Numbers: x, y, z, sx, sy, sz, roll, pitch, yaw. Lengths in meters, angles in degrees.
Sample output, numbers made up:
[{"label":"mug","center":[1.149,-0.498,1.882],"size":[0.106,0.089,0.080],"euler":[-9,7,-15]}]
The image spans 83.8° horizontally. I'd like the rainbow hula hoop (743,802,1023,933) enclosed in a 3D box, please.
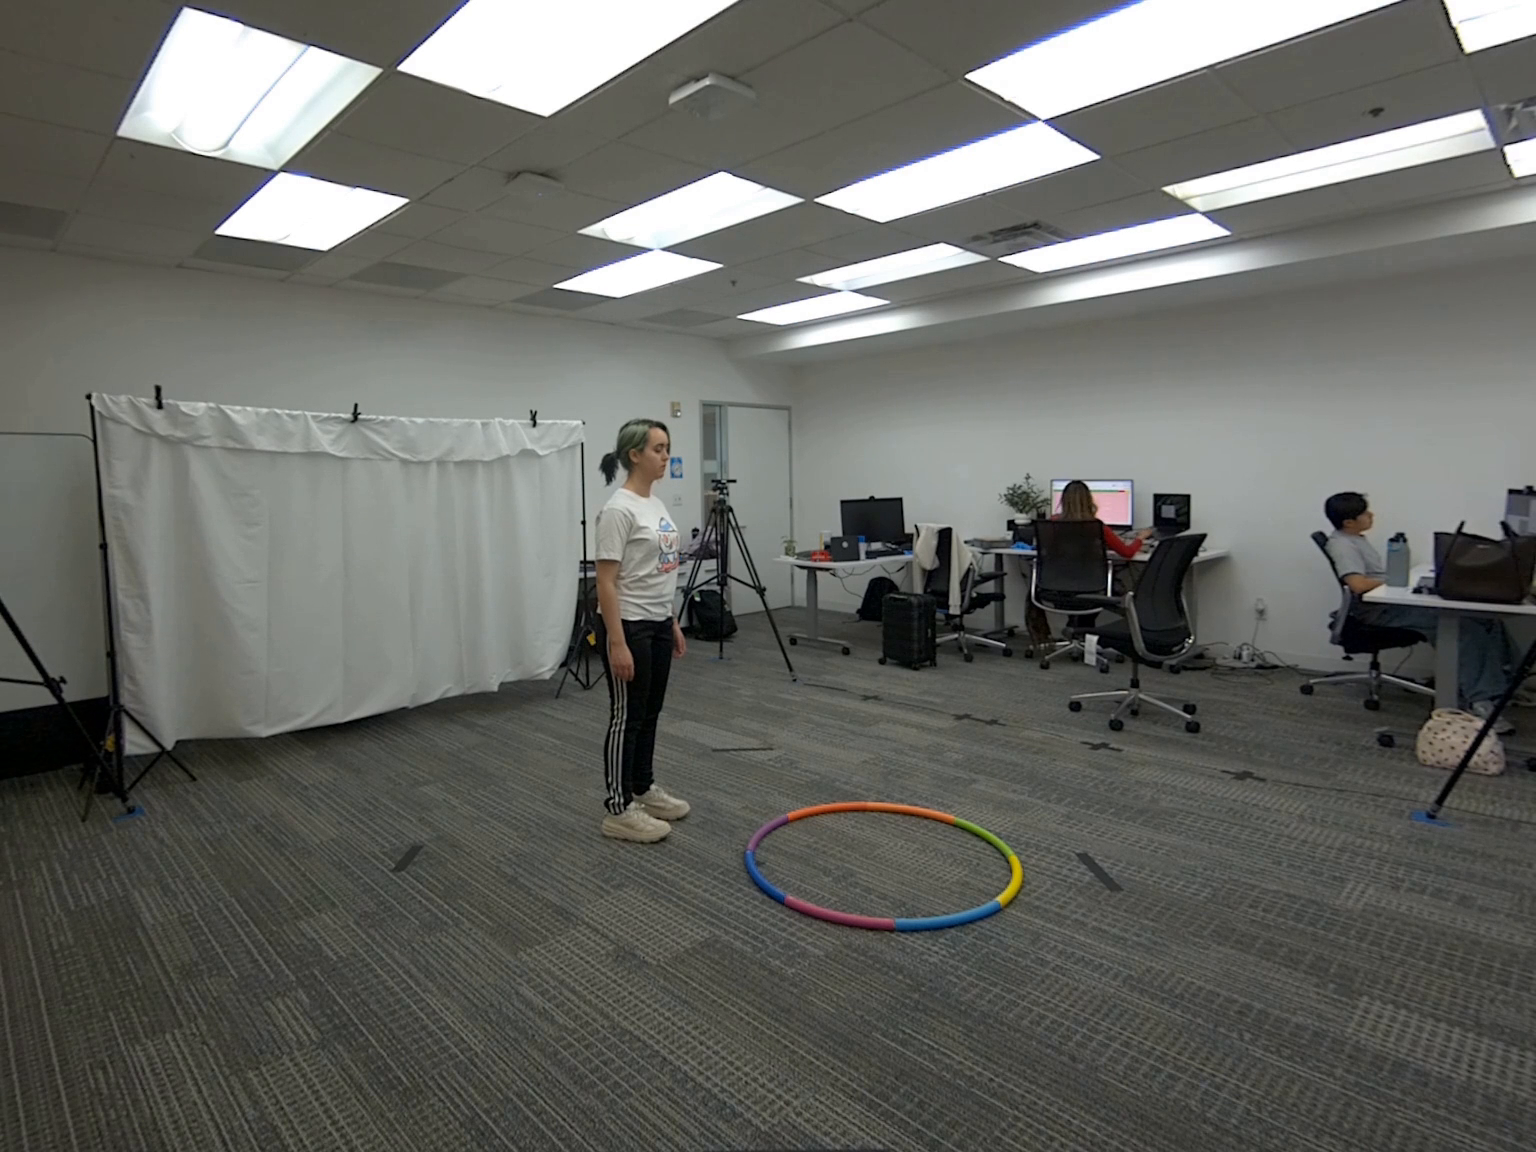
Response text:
[{"label":"rainbow hula hoop","center":[0.400,1.009,3.110],"size":[0.978,0.035,0.984],"euler":[-2,6,-2]}]
